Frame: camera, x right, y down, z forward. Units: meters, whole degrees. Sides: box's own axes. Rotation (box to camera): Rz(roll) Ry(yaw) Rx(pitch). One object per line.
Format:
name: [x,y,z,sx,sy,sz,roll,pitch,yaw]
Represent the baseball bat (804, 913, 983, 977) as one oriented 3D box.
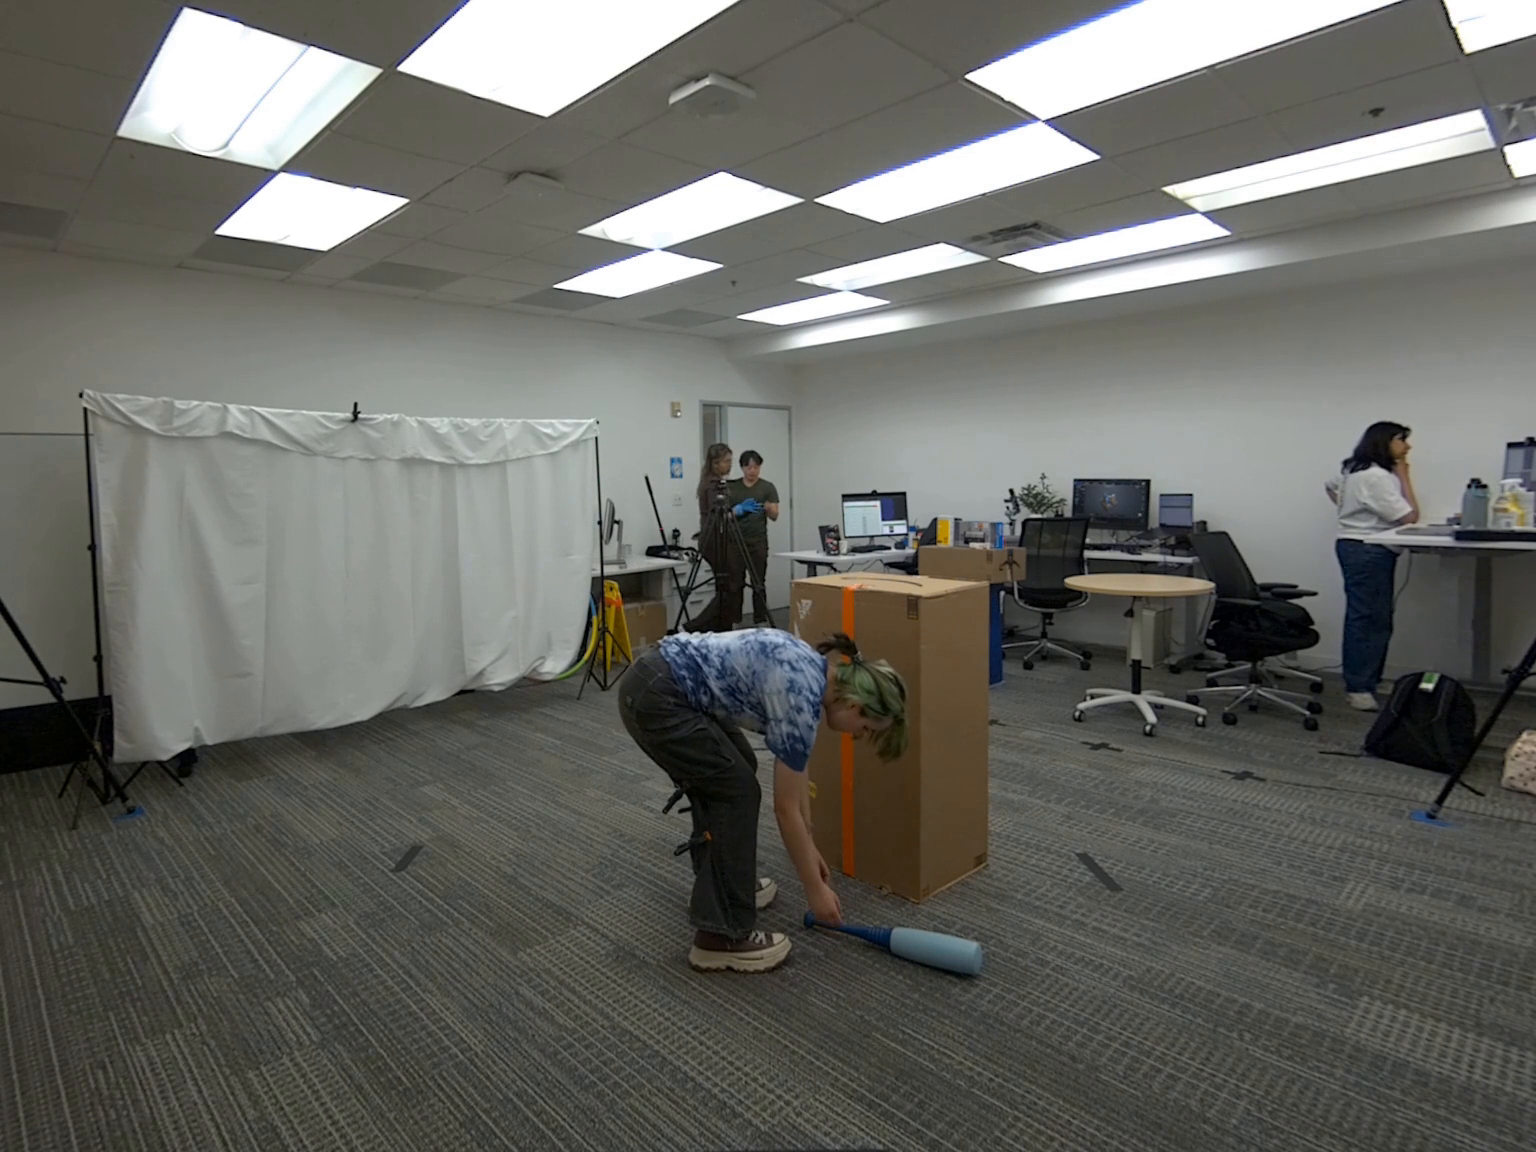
baseball bat: [0.349,1.073,2.526,0.557,0.089,0.087,-2,3,33]
